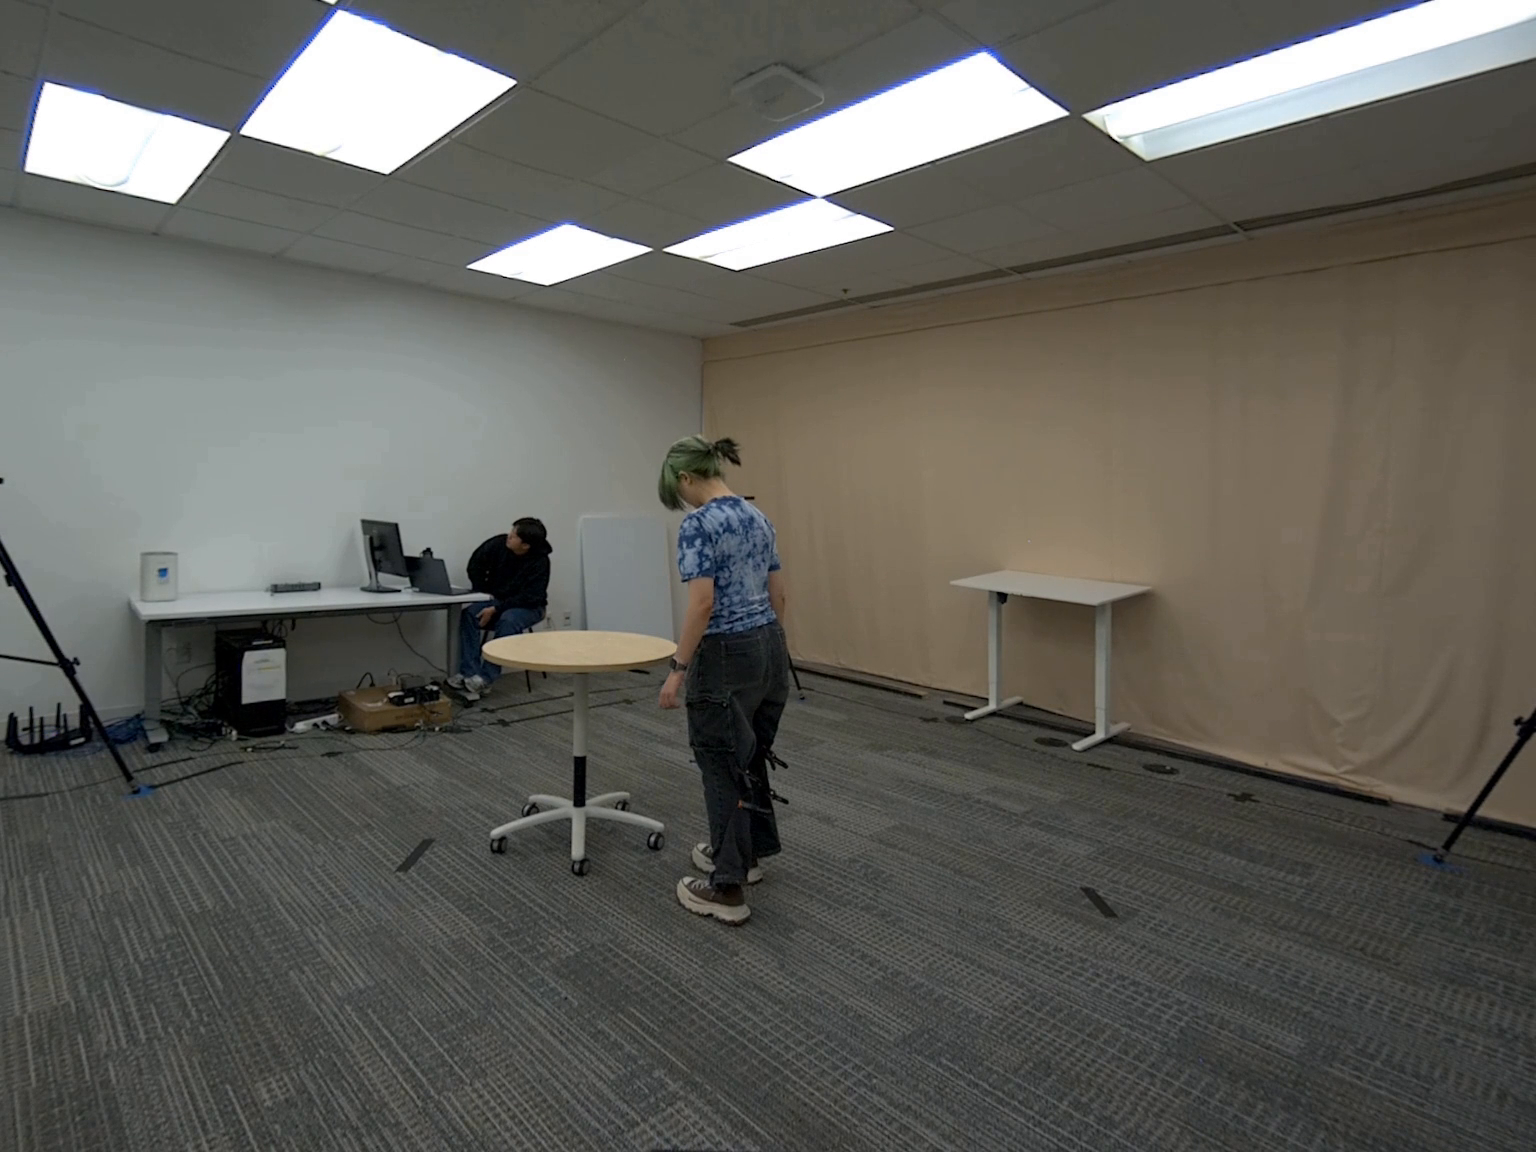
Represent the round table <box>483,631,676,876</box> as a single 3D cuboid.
[{"bbox_3d":[-0.760,0.677,3.381,0.763,0.792,0.766,1,4,-1],"label":"round table"}]
